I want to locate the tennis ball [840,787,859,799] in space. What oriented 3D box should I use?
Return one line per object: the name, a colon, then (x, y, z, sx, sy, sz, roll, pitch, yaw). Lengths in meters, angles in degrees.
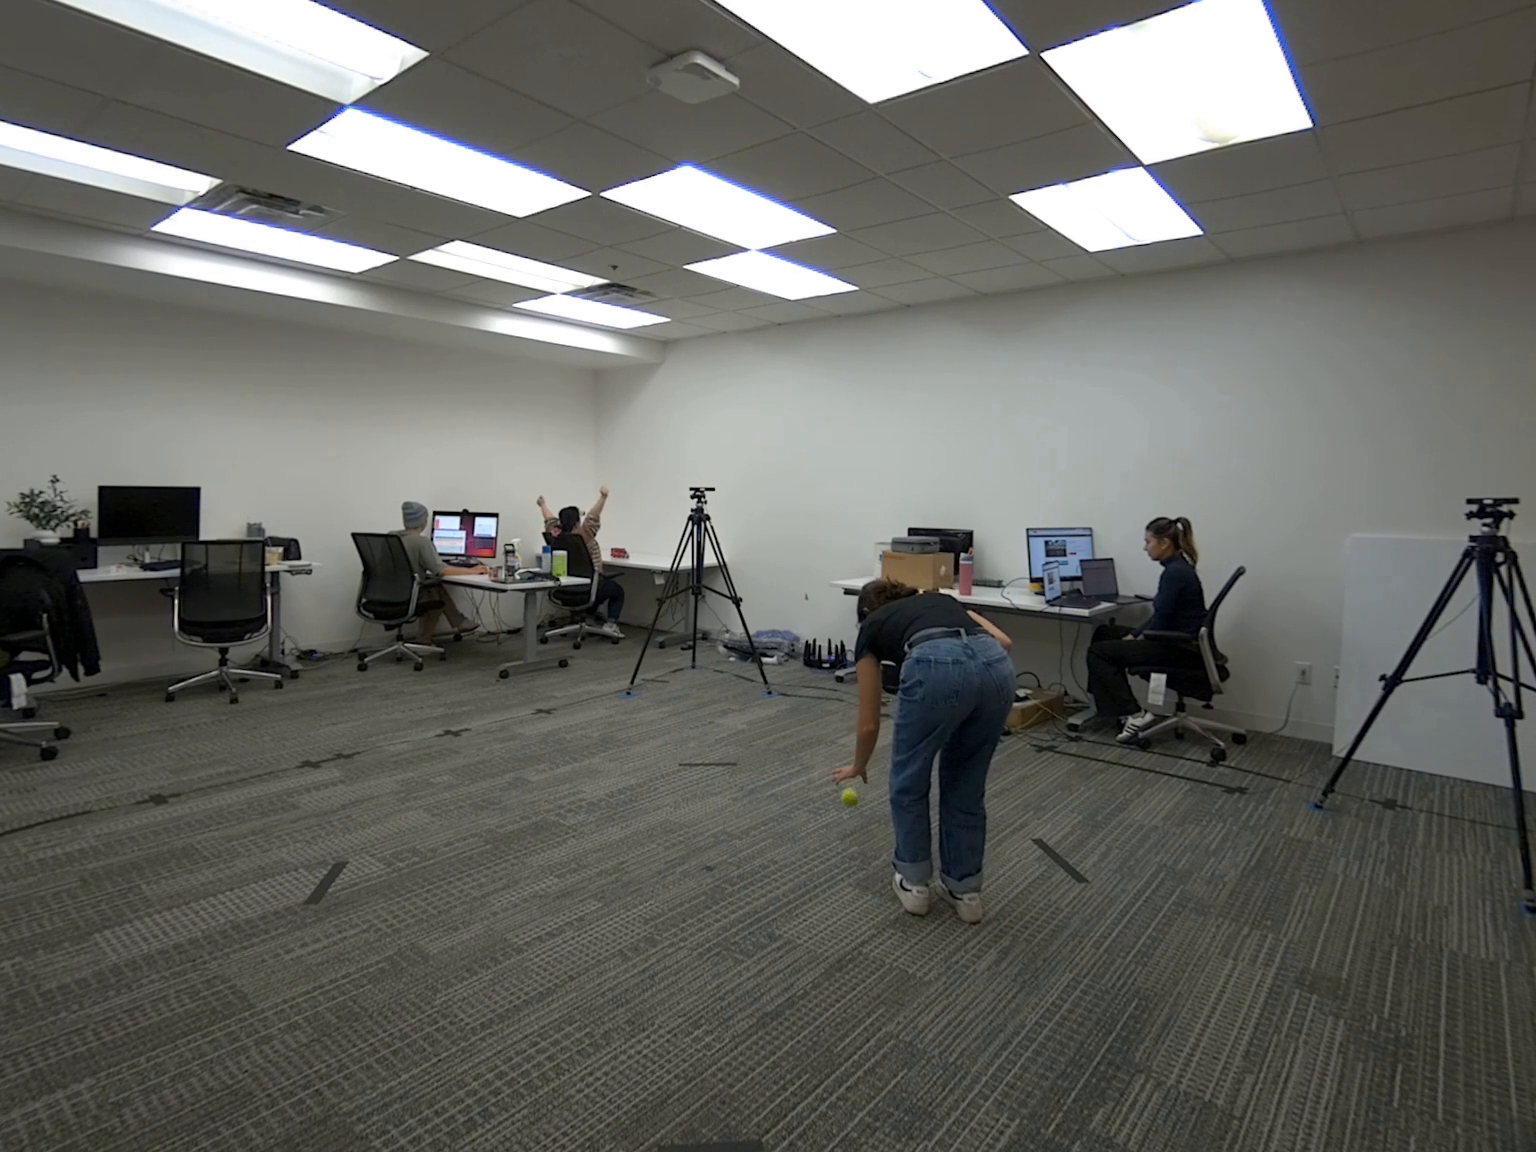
tennis ball: (0.307, 0.792, 3.287, 0.066, 0.066, 0.067, 1, 4, -2)
